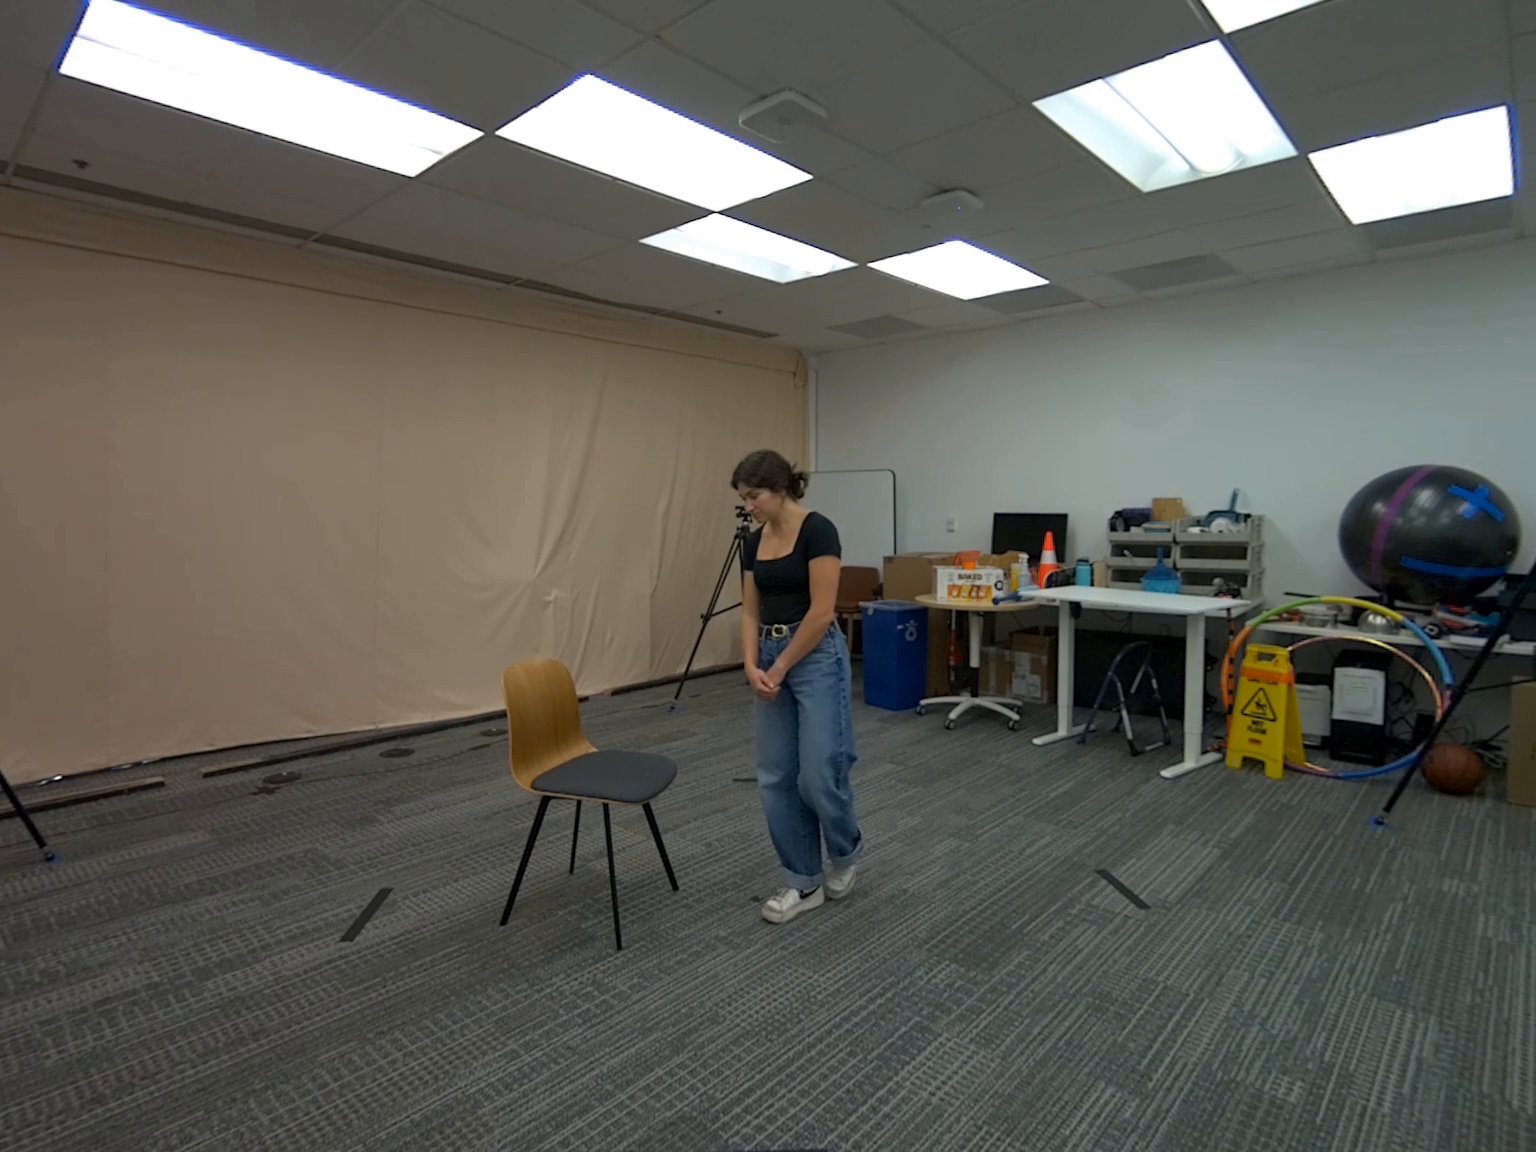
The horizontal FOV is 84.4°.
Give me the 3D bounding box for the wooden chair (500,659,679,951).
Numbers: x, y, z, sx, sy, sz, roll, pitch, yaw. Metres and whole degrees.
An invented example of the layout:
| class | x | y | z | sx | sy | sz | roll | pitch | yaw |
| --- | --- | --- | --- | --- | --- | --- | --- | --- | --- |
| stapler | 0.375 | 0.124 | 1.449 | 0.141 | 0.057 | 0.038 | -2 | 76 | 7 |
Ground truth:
| class | x | y | z | sx | sy | sz | roll | pitch | yaw |
| --- | --- | --- | --- | --- | --- | --- | --- | --- | --- |
| wooden chair | -0.602 | 0.732 | 2.902 | 0.534 | 0.877 | 0.468 | -4 | 1 | 21 |
